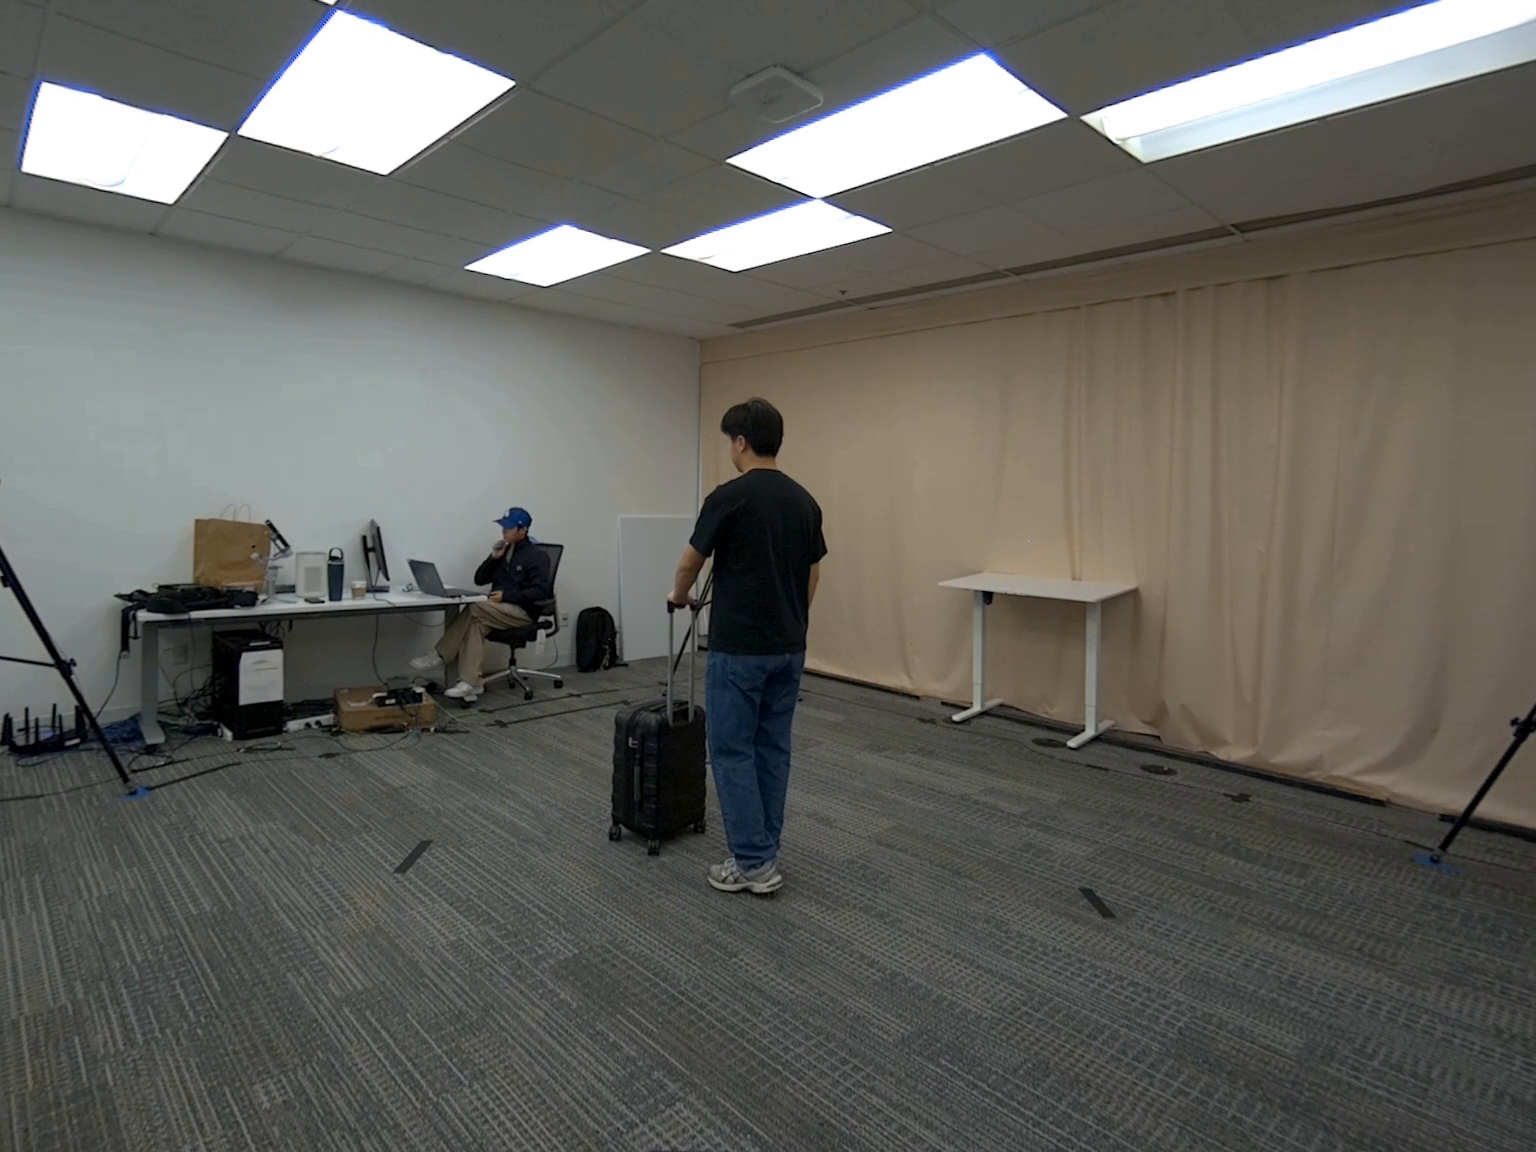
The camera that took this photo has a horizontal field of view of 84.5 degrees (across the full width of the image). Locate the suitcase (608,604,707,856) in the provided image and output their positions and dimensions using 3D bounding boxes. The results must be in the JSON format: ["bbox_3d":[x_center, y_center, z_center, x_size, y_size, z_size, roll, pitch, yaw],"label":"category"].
[{"bbox_3d":[-0.454,0.589,3.469,0.263,0.978,0.375,1,1,36],"label":"suitcase"}]
